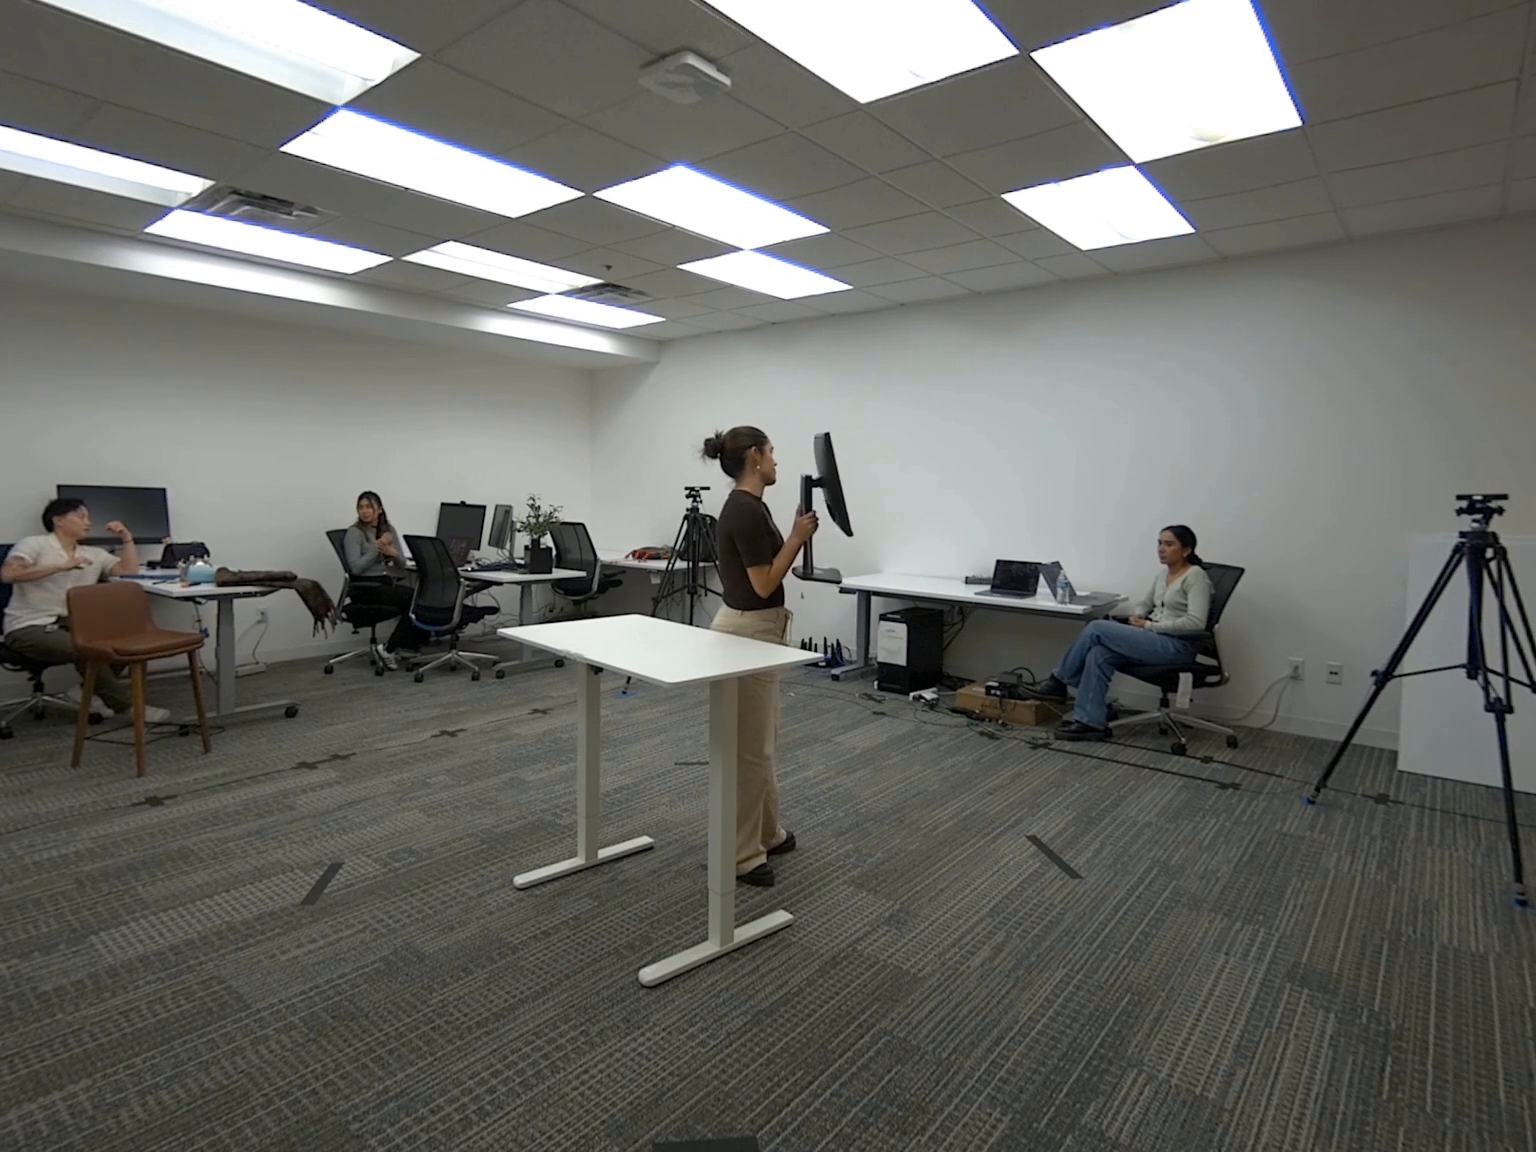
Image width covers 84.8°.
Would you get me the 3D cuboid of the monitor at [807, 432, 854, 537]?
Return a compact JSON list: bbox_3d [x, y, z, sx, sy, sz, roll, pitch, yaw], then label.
[{"bbox_3d":[0.189,-0.256,3.048,0.187,0.519,0.543,0,7,-2],"label":"monitor"}]
